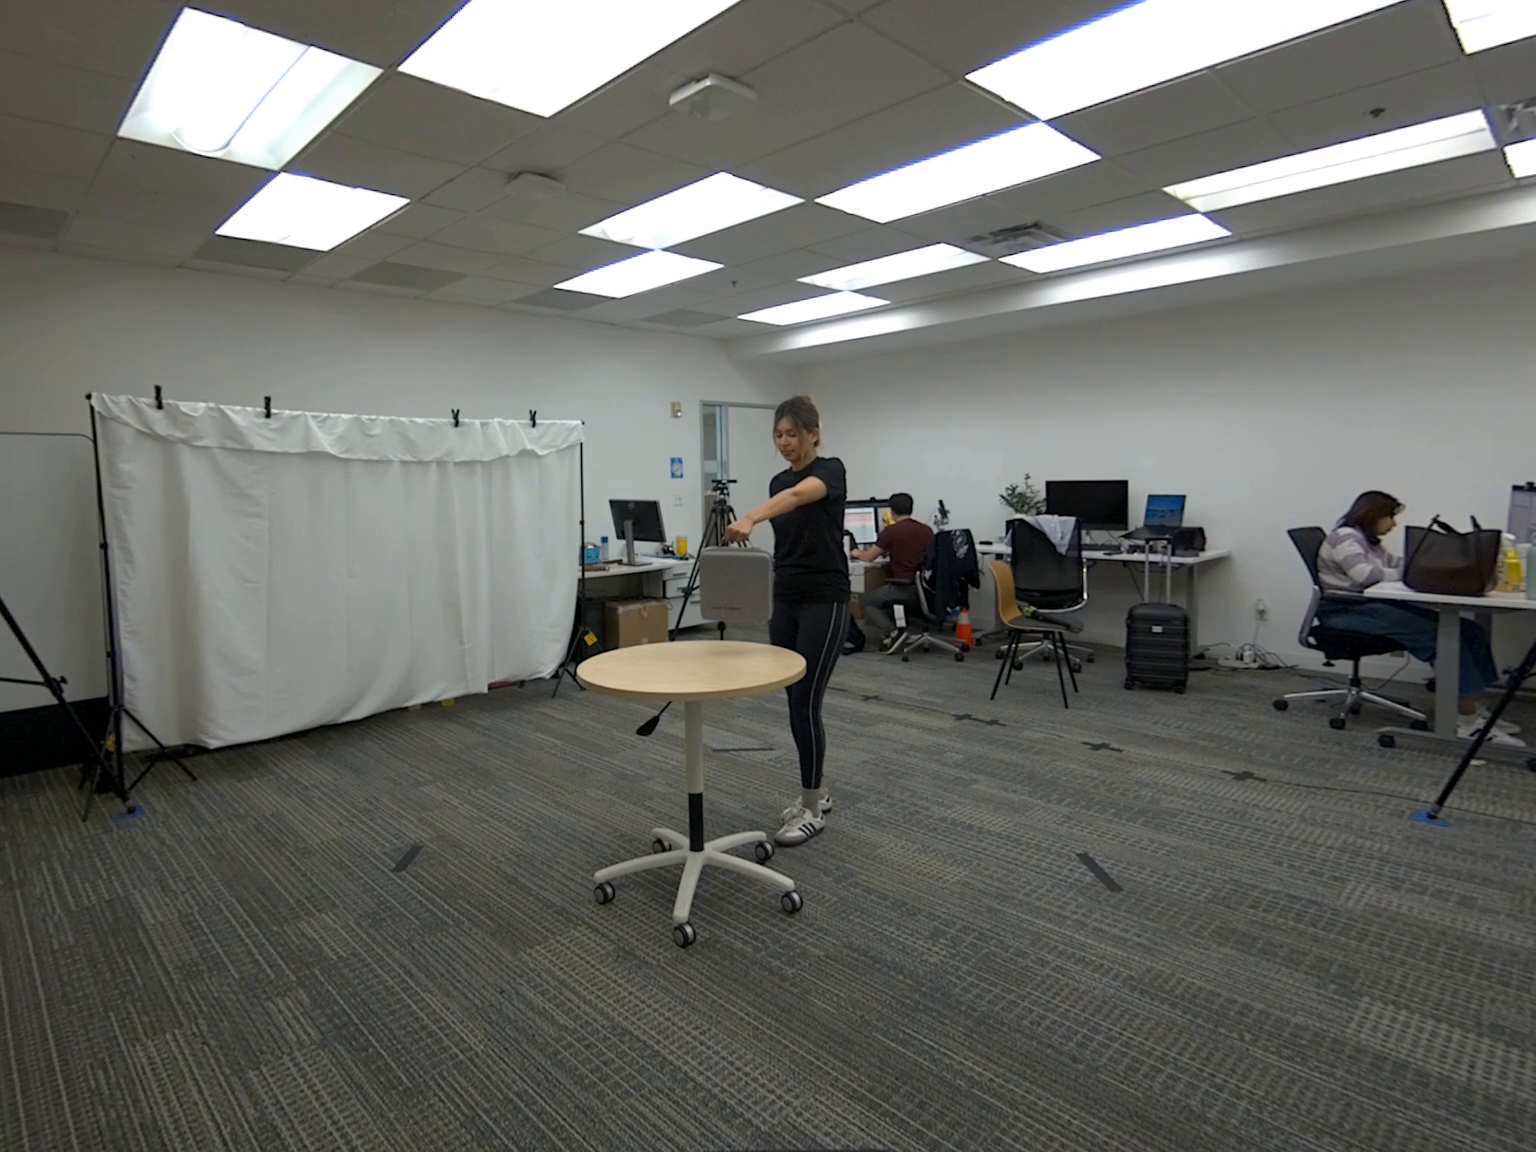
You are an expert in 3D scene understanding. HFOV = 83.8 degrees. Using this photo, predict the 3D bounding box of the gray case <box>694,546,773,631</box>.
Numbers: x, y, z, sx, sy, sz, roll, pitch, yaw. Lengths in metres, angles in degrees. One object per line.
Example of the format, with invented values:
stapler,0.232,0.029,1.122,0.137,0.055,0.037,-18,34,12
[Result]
gray case,-0.114,0.028,2.969,0.259,0.258,0.104,5,12,10
